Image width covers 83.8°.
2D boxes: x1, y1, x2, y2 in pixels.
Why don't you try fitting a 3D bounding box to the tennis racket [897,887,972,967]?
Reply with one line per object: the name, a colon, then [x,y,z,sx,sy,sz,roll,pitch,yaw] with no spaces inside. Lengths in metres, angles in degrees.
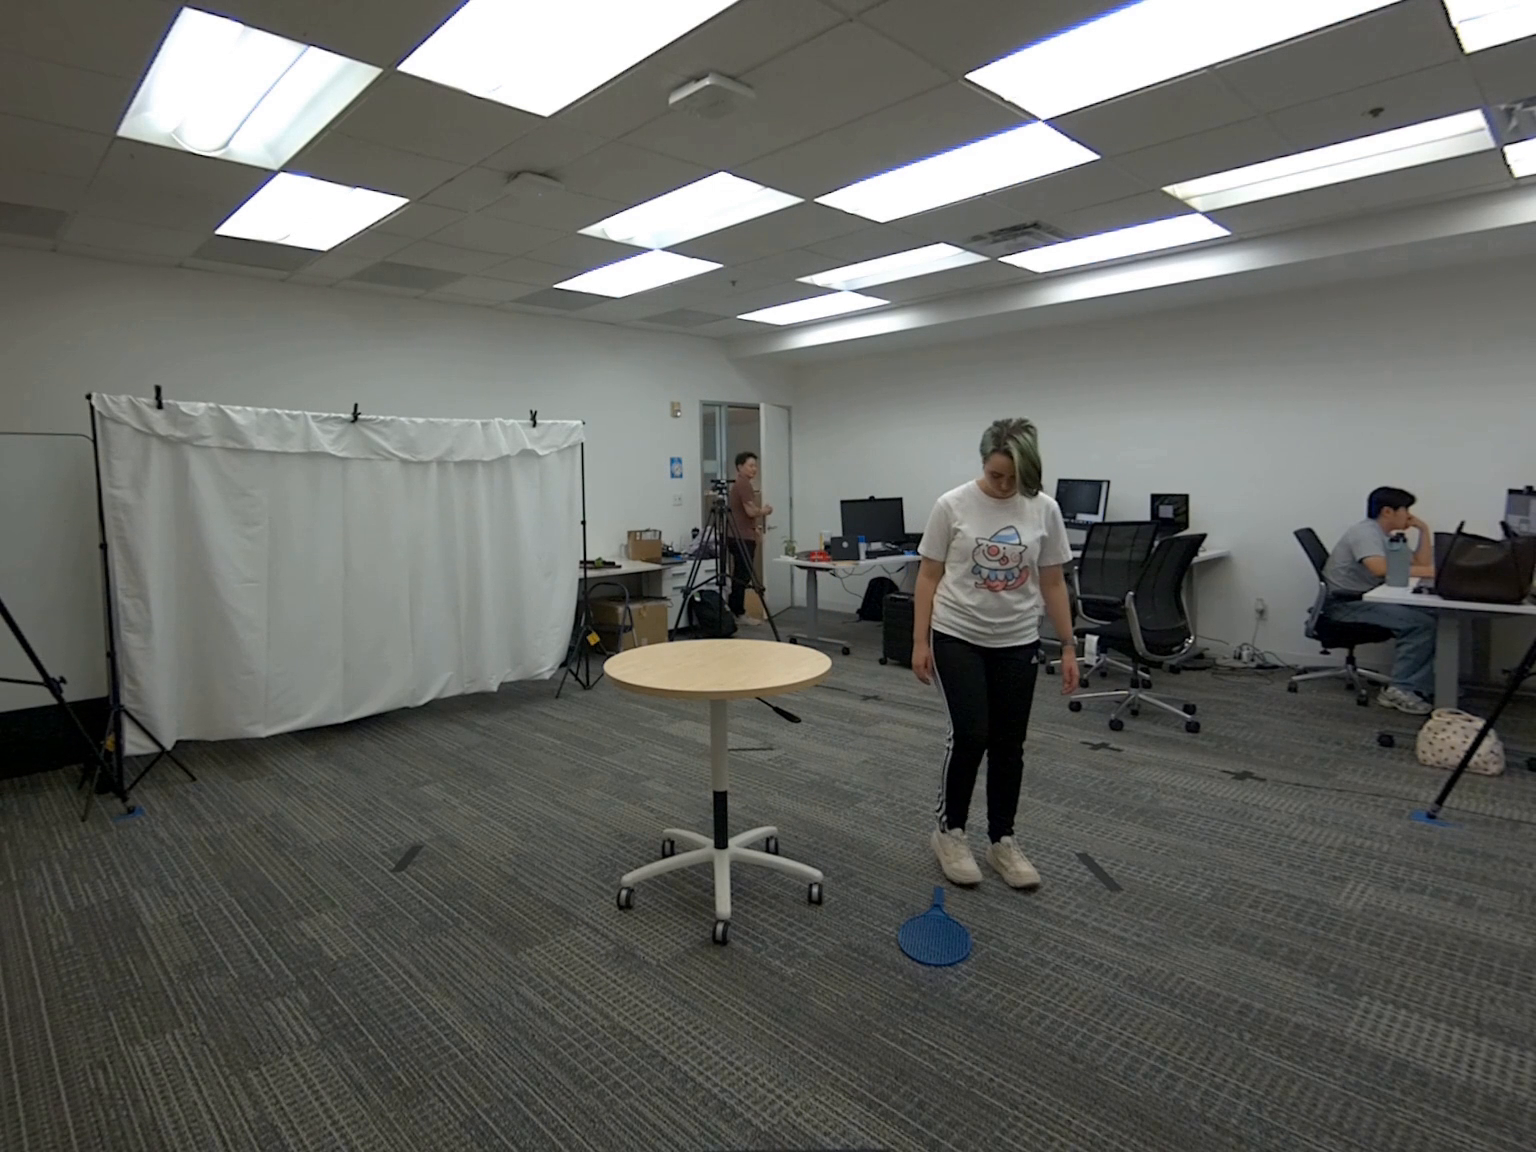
tennis racket: [0.521,1.077,2.639,0.217,0.031,0.429,0,8,14]
